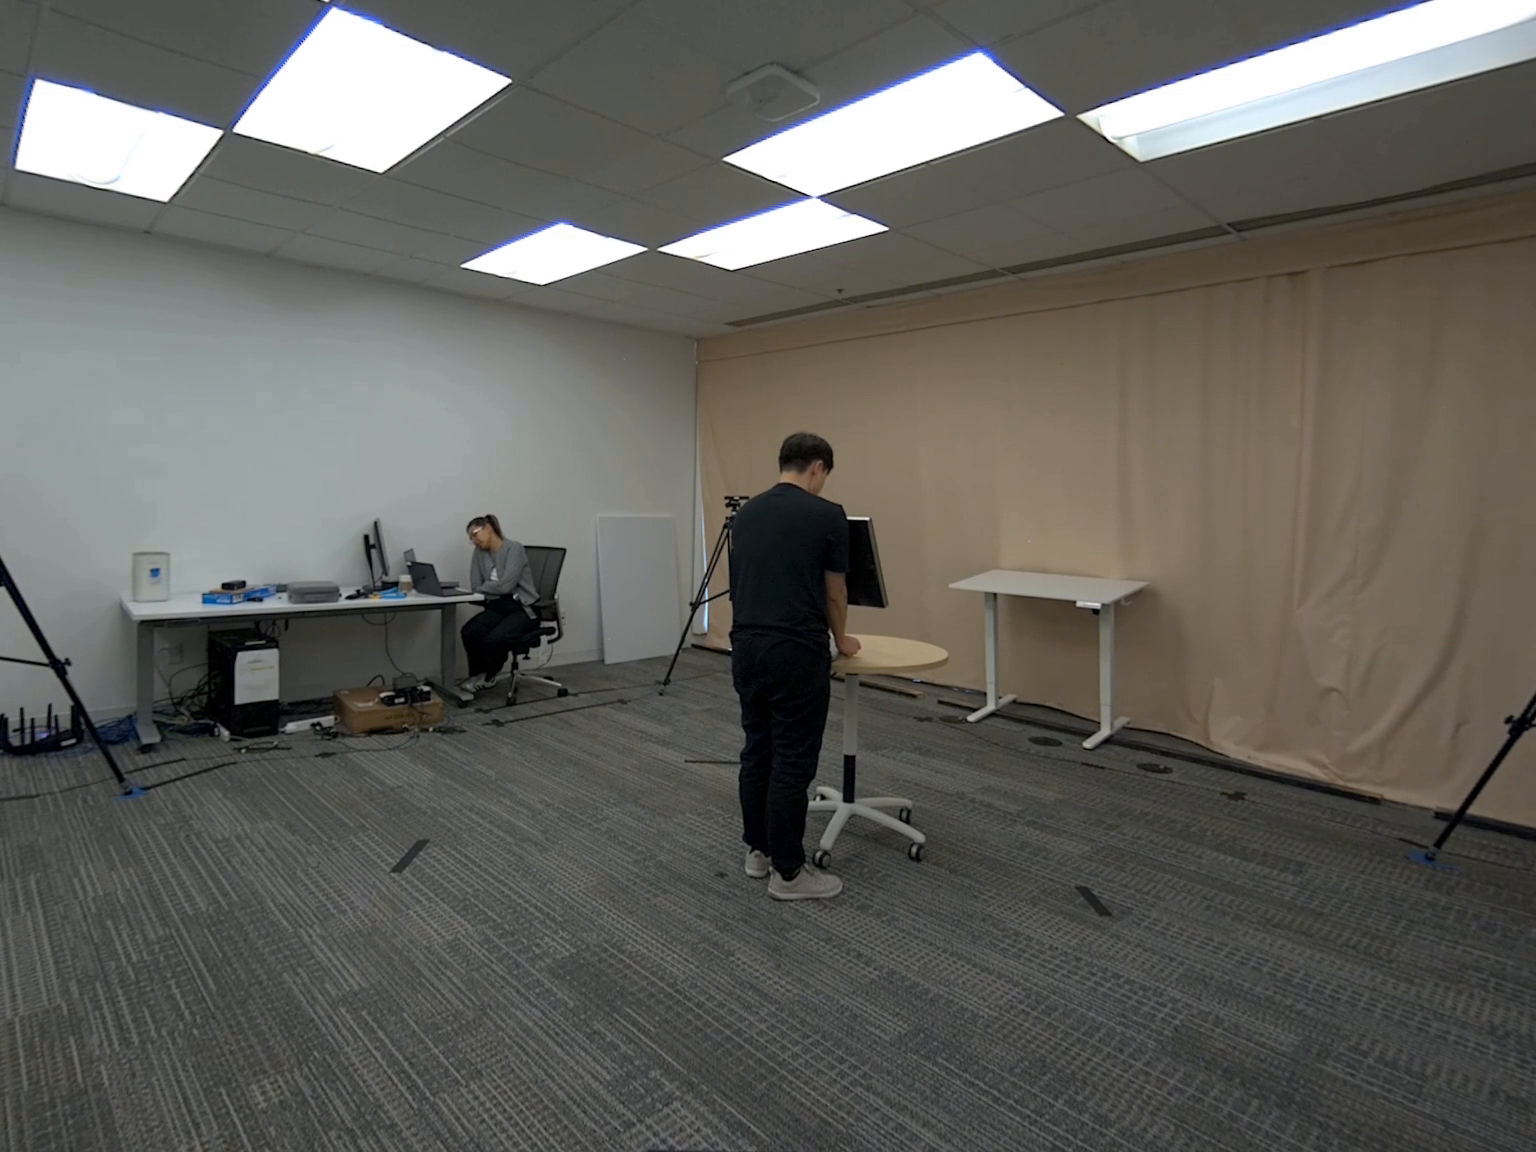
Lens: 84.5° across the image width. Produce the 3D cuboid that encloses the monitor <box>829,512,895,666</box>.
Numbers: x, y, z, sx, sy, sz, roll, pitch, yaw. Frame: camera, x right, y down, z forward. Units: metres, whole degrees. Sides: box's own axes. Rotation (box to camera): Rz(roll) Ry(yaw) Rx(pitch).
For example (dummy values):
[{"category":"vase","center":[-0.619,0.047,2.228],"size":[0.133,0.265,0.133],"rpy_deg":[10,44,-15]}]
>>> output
[{"category":"monitor","center":[0.176,0.028,3.250],"size":[0.552,0.517,0.184],"rpy_deg":[4,17,38]}]
